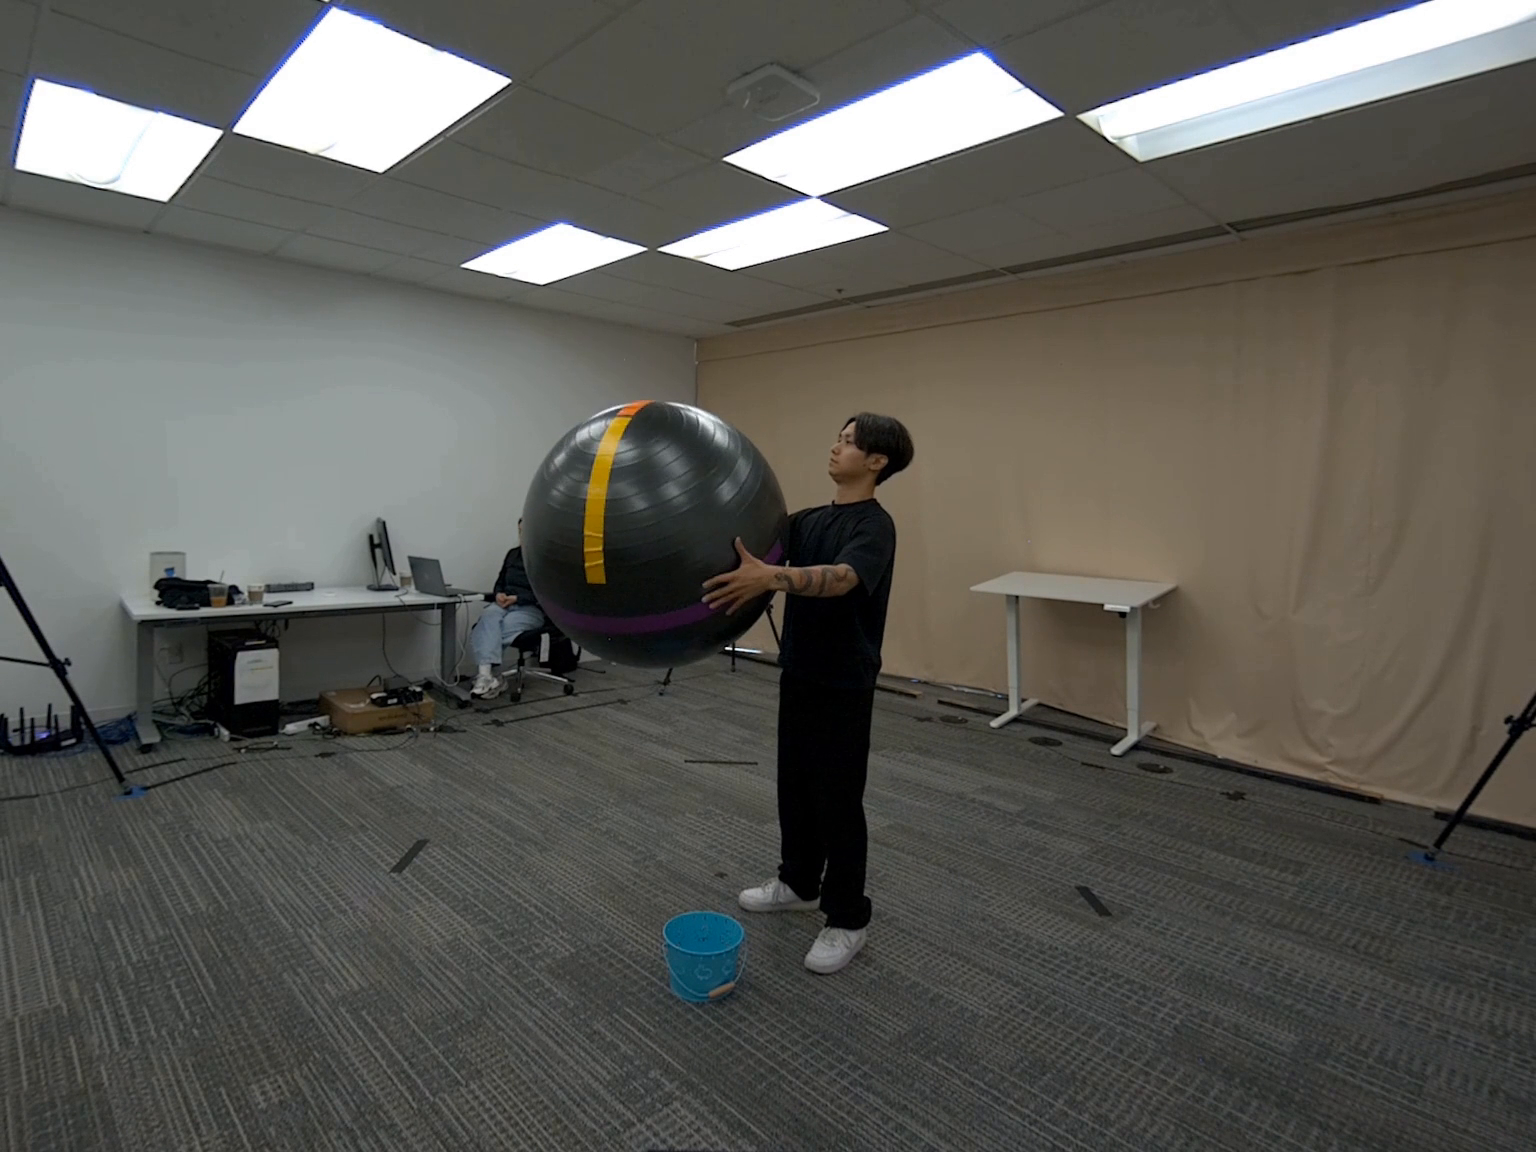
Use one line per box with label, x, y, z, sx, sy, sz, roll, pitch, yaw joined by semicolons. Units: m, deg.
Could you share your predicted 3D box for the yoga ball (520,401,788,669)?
yoga ball;-0.323;-0.113;2.393;0.757;0.756;0.761;1;4;-1
